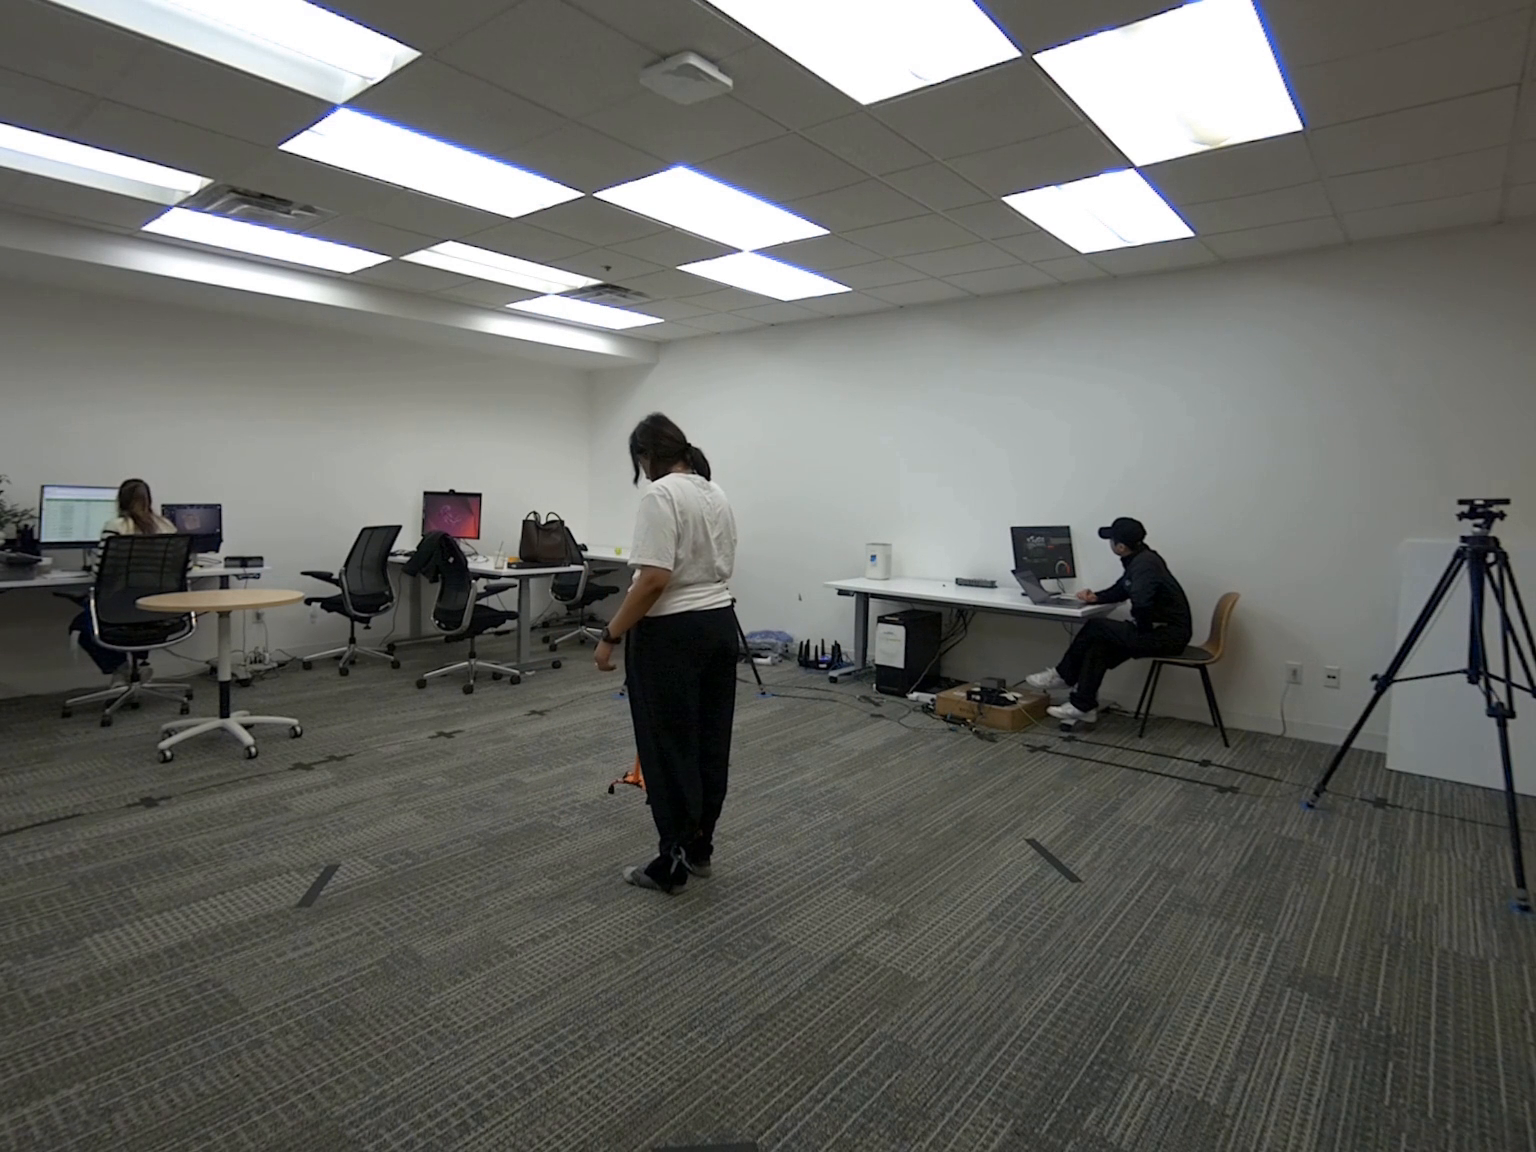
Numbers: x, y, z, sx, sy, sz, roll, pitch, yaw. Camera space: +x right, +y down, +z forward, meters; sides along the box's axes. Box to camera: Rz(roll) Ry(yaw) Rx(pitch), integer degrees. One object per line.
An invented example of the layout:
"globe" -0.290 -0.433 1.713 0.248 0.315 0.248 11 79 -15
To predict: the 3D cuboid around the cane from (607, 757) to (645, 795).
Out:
"cane" -0.505 0.474 3.516 0.211 0.902 0.149 9 8 21
